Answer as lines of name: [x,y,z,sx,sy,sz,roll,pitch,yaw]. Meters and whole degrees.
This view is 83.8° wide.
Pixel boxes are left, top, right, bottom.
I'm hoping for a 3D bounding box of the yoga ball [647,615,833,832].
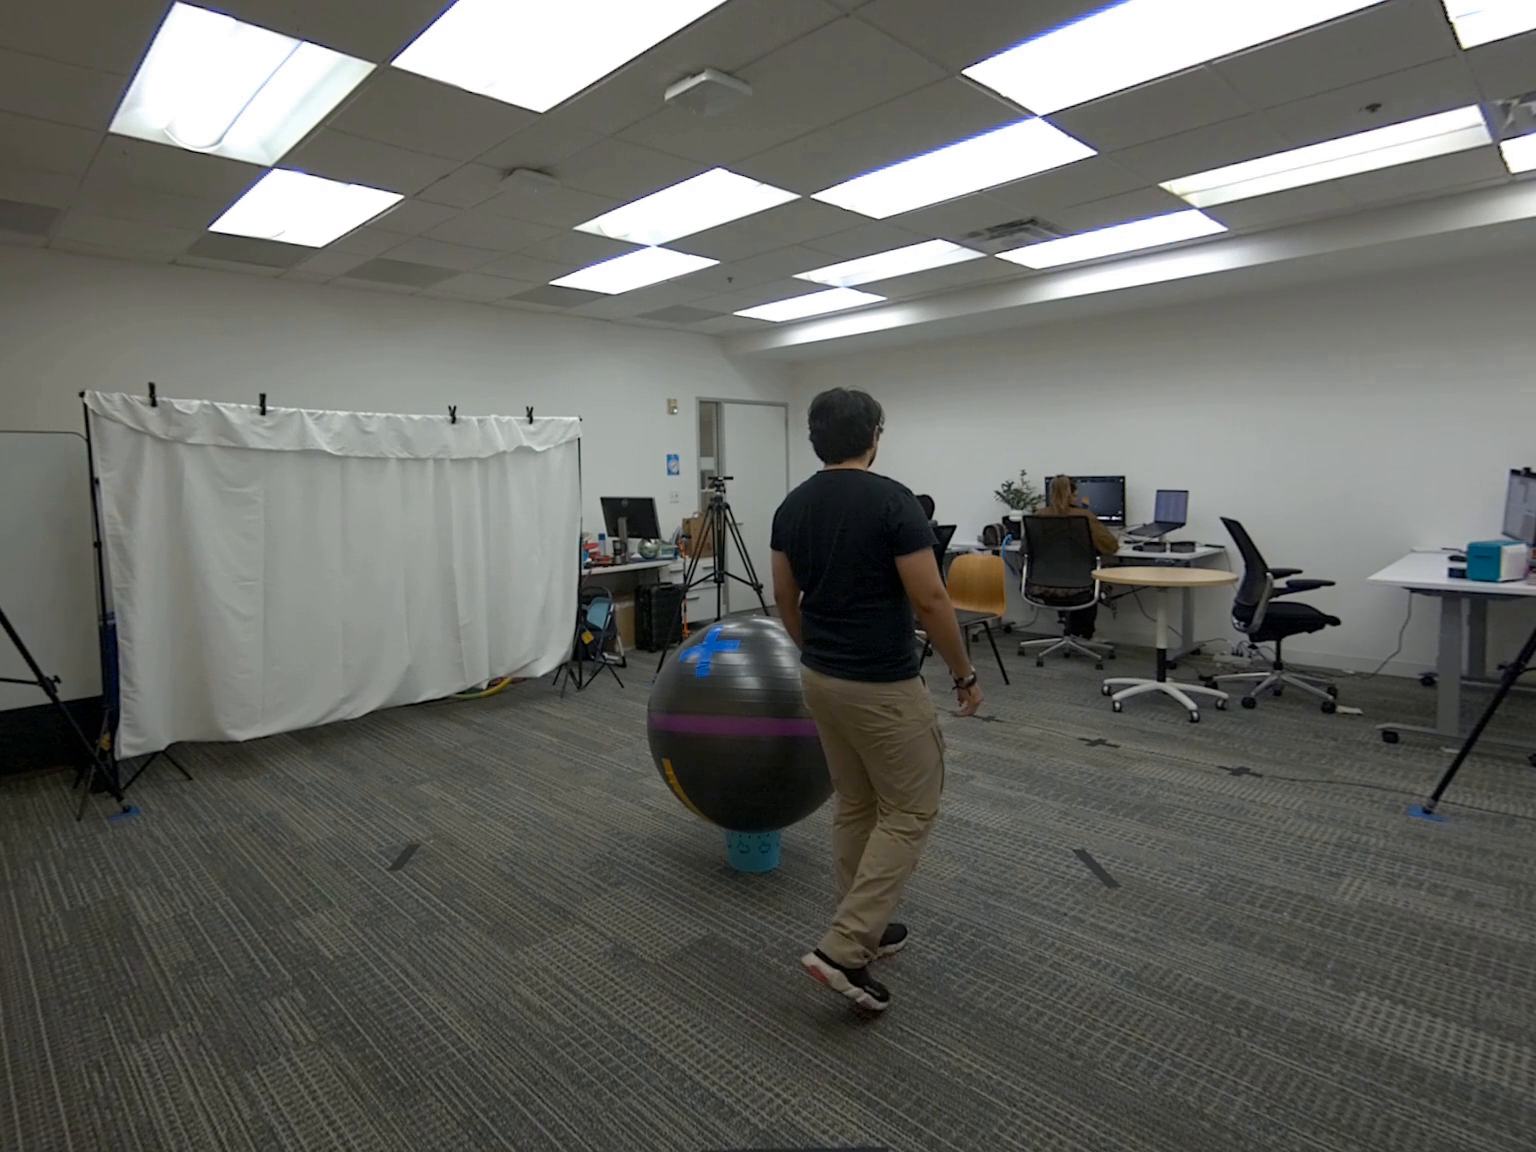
yoga ball: [-0.057,0.526,3.096,0.757,0.755,0.762,-1,5,-2]
